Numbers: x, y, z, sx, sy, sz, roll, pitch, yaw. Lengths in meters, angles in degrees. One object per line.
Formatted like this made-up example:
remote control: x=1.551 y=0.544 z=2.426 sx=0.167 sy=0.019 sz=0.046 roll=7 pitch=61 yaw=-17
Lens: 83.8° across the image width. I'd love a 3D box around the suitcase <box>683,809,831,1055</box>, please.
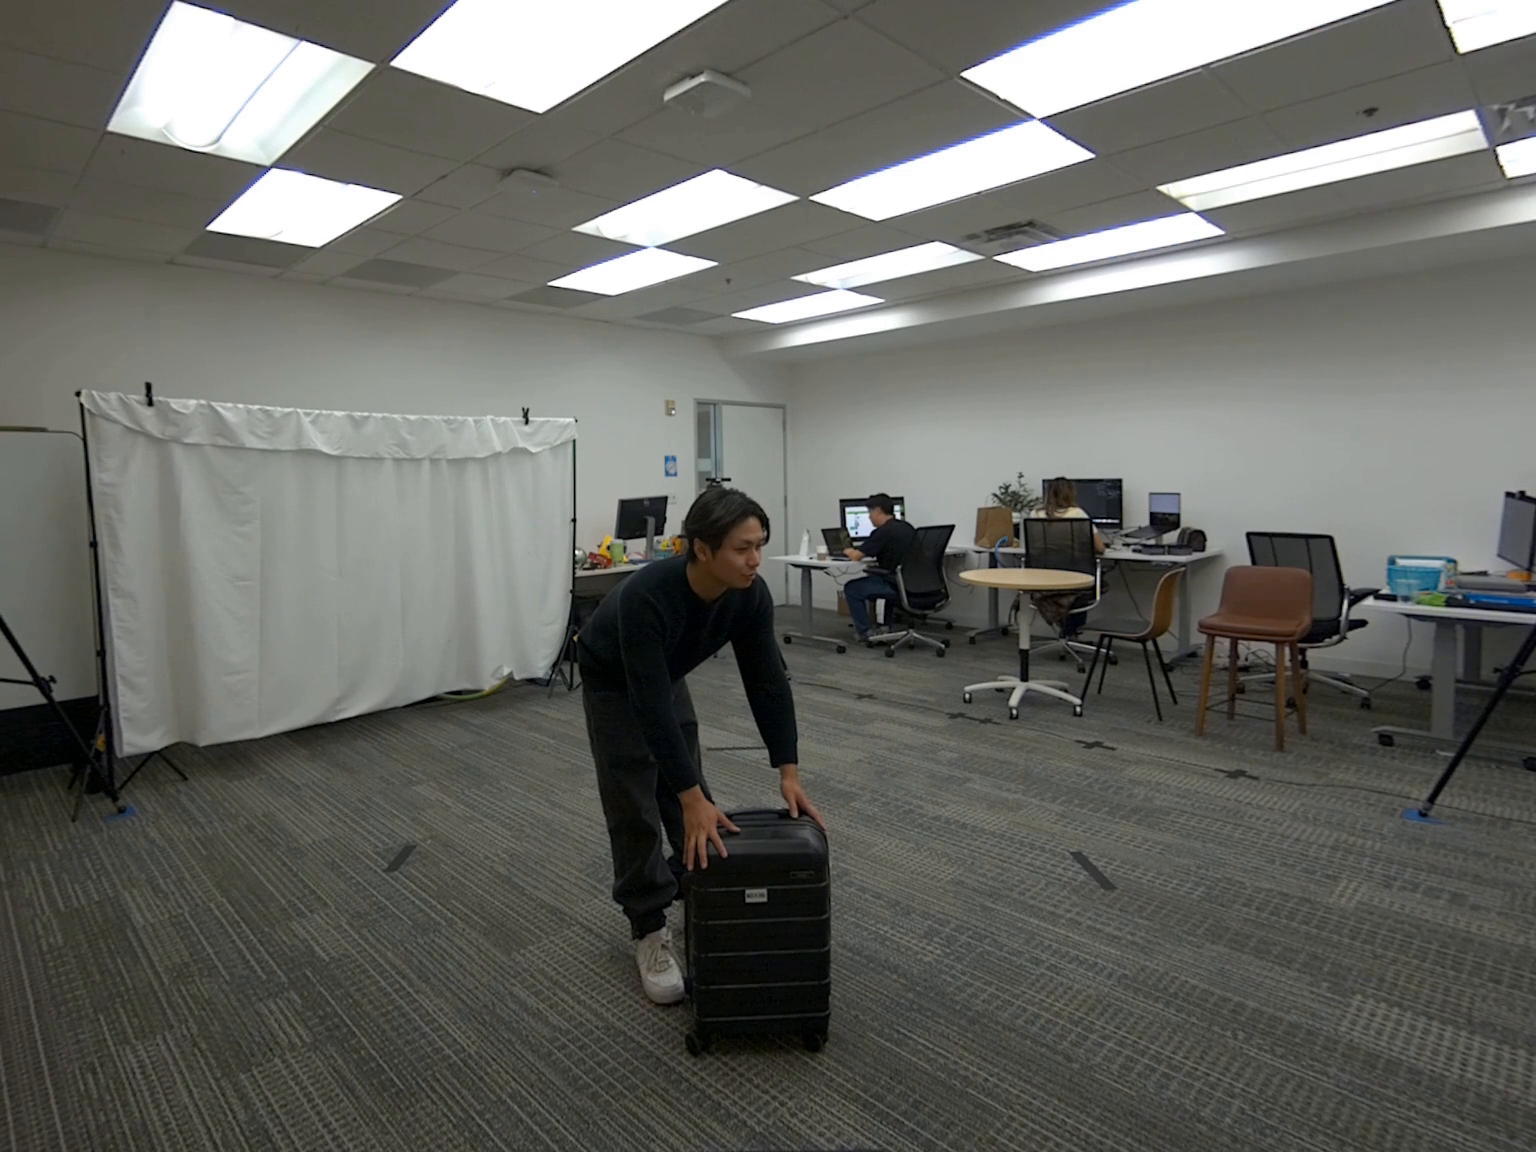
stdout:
suitcase: x=-0.014 y=0.878 z=2.158 sx=0.374 sy=0.547 sz=0.250 roll=-1 pitch=4 yaw=-4
